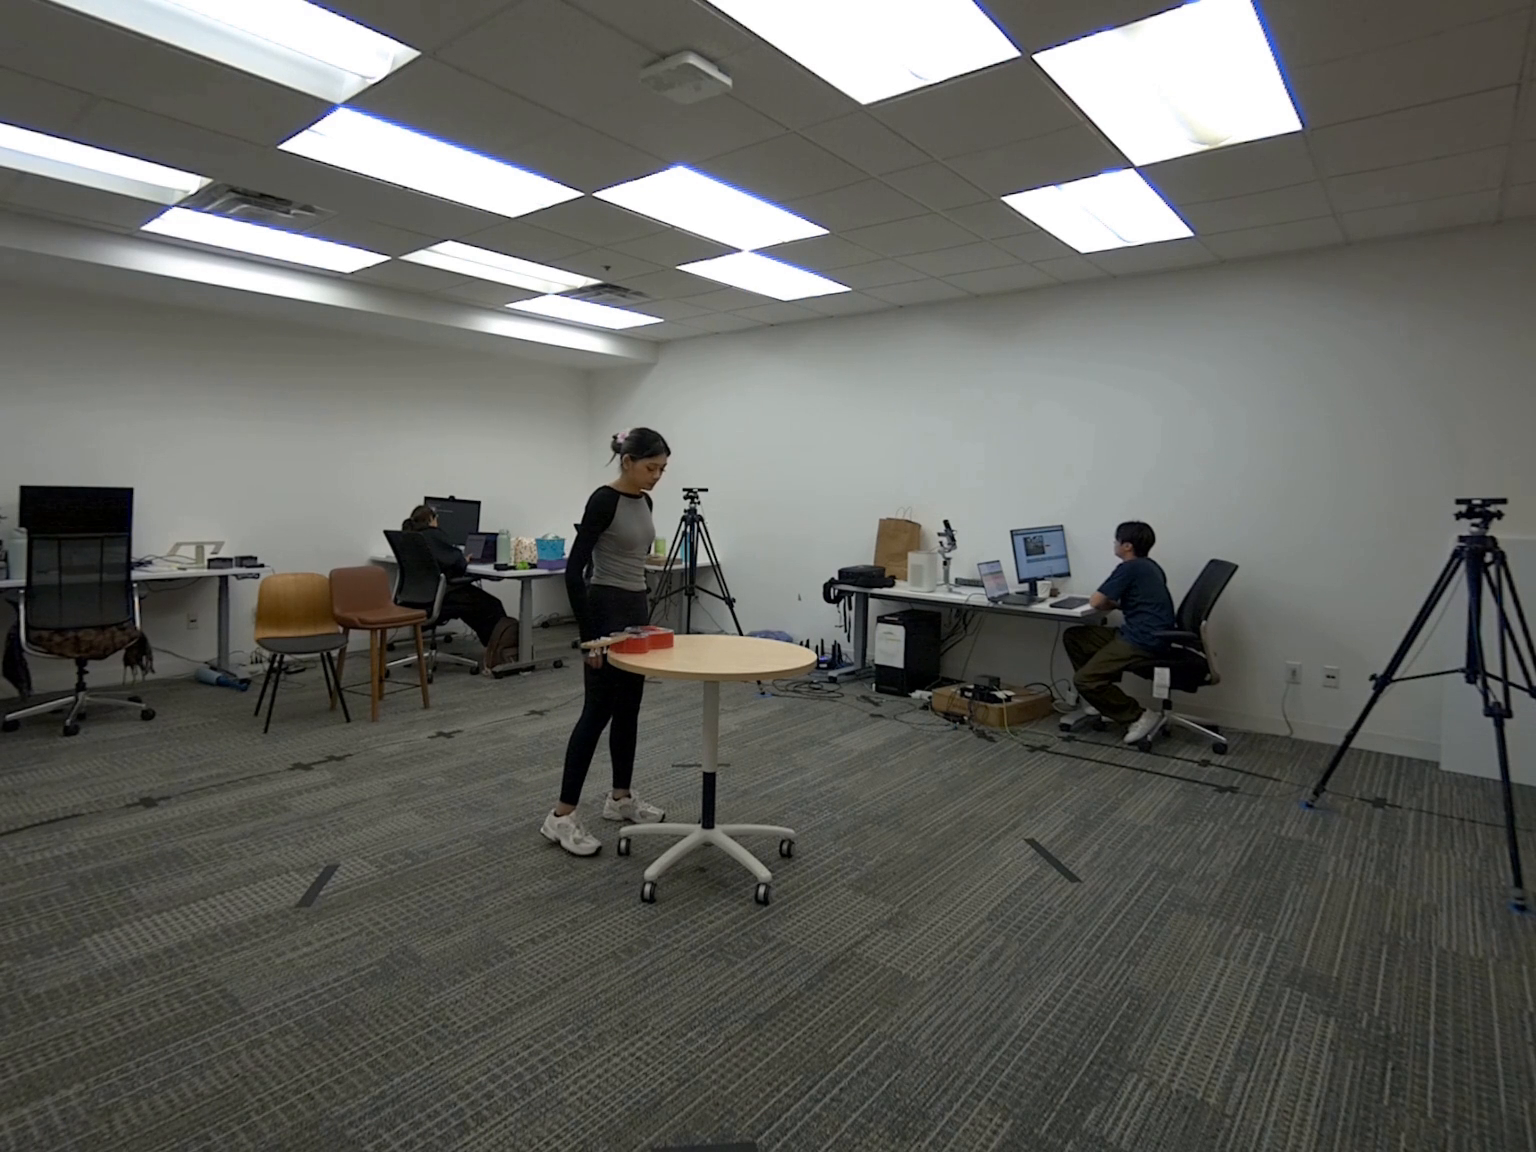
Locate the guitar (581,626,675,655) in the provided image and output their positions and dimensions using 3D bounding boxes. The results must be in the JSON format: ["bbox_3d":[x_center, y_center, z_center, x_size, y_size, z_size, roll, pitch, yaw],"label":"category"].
[{"bbox_3d":[-0.555,0.239,3.071,0.199,0.070,0.484,4,6,31],"label":"guitar"}]
